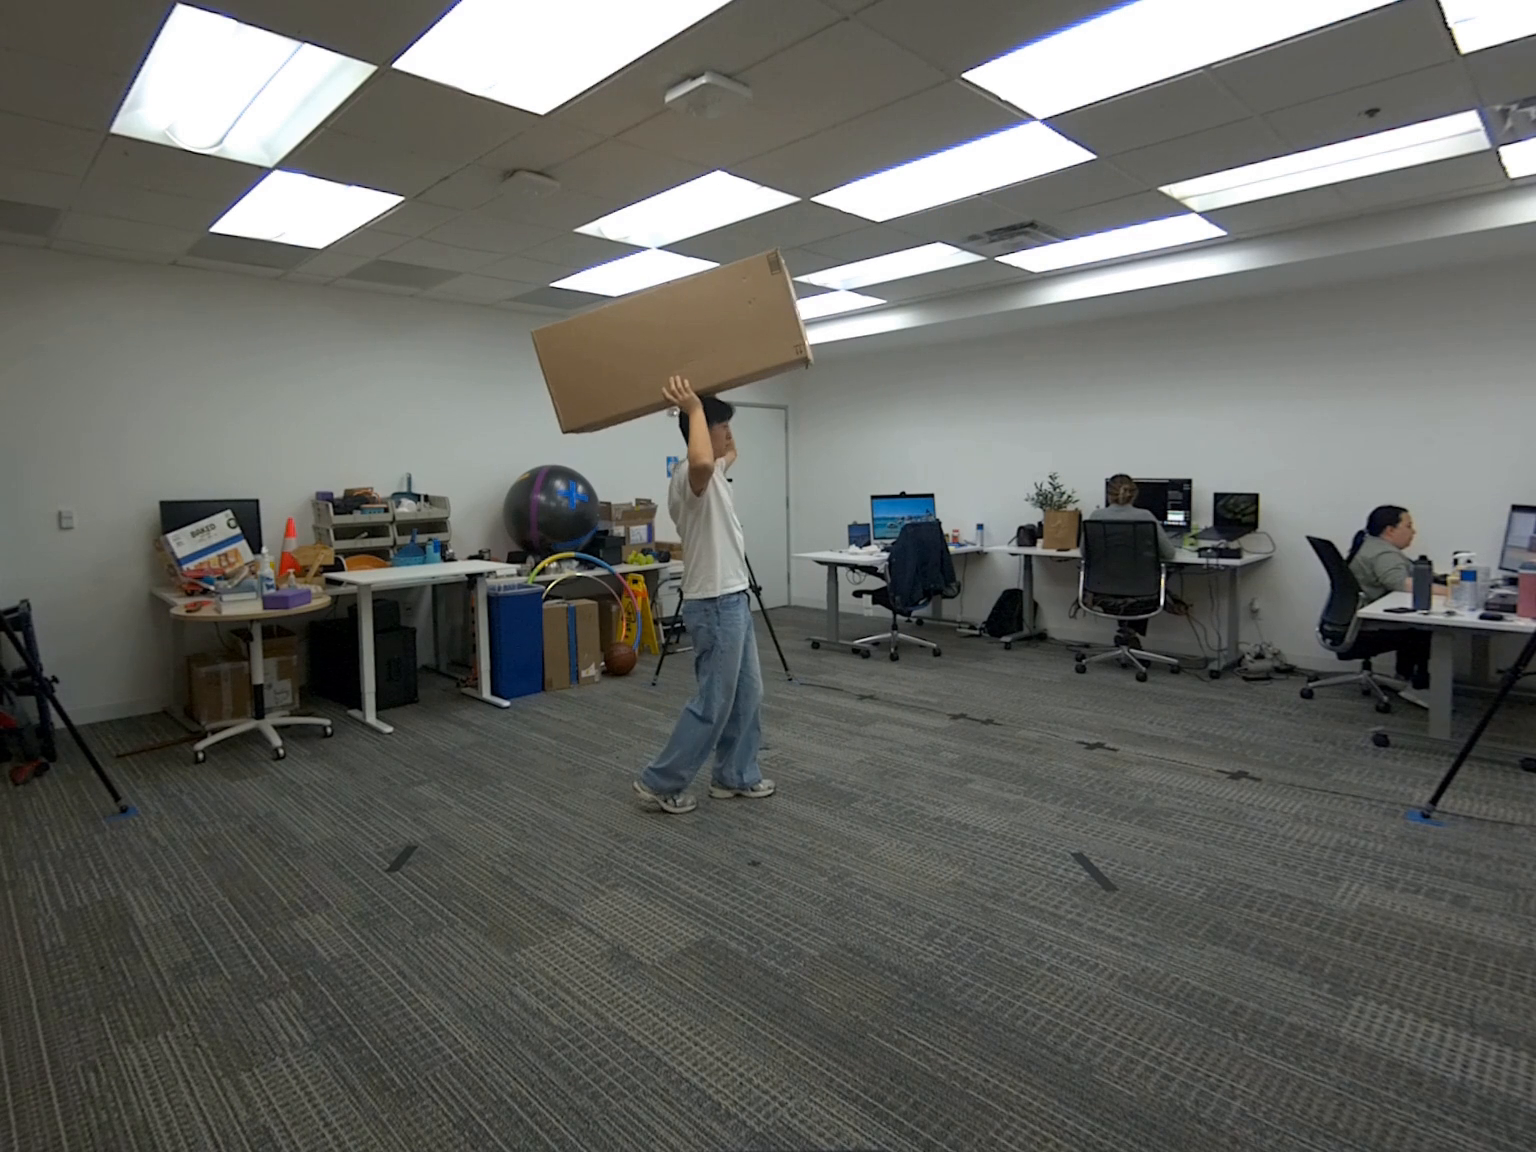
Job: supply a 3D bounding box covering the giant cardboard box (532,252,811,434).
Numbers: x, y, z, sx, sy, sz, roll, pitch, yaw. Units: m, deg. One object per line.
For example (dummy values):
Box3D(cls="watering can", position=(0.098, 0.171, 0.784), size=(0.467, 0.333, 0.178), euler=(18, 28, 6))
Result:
Box3D(cls="giant cardboard box", position=(-0.366, -0.945, 3.572), size=(1.033, 0.422, 0.579), euler=(-15, 9, 9))
